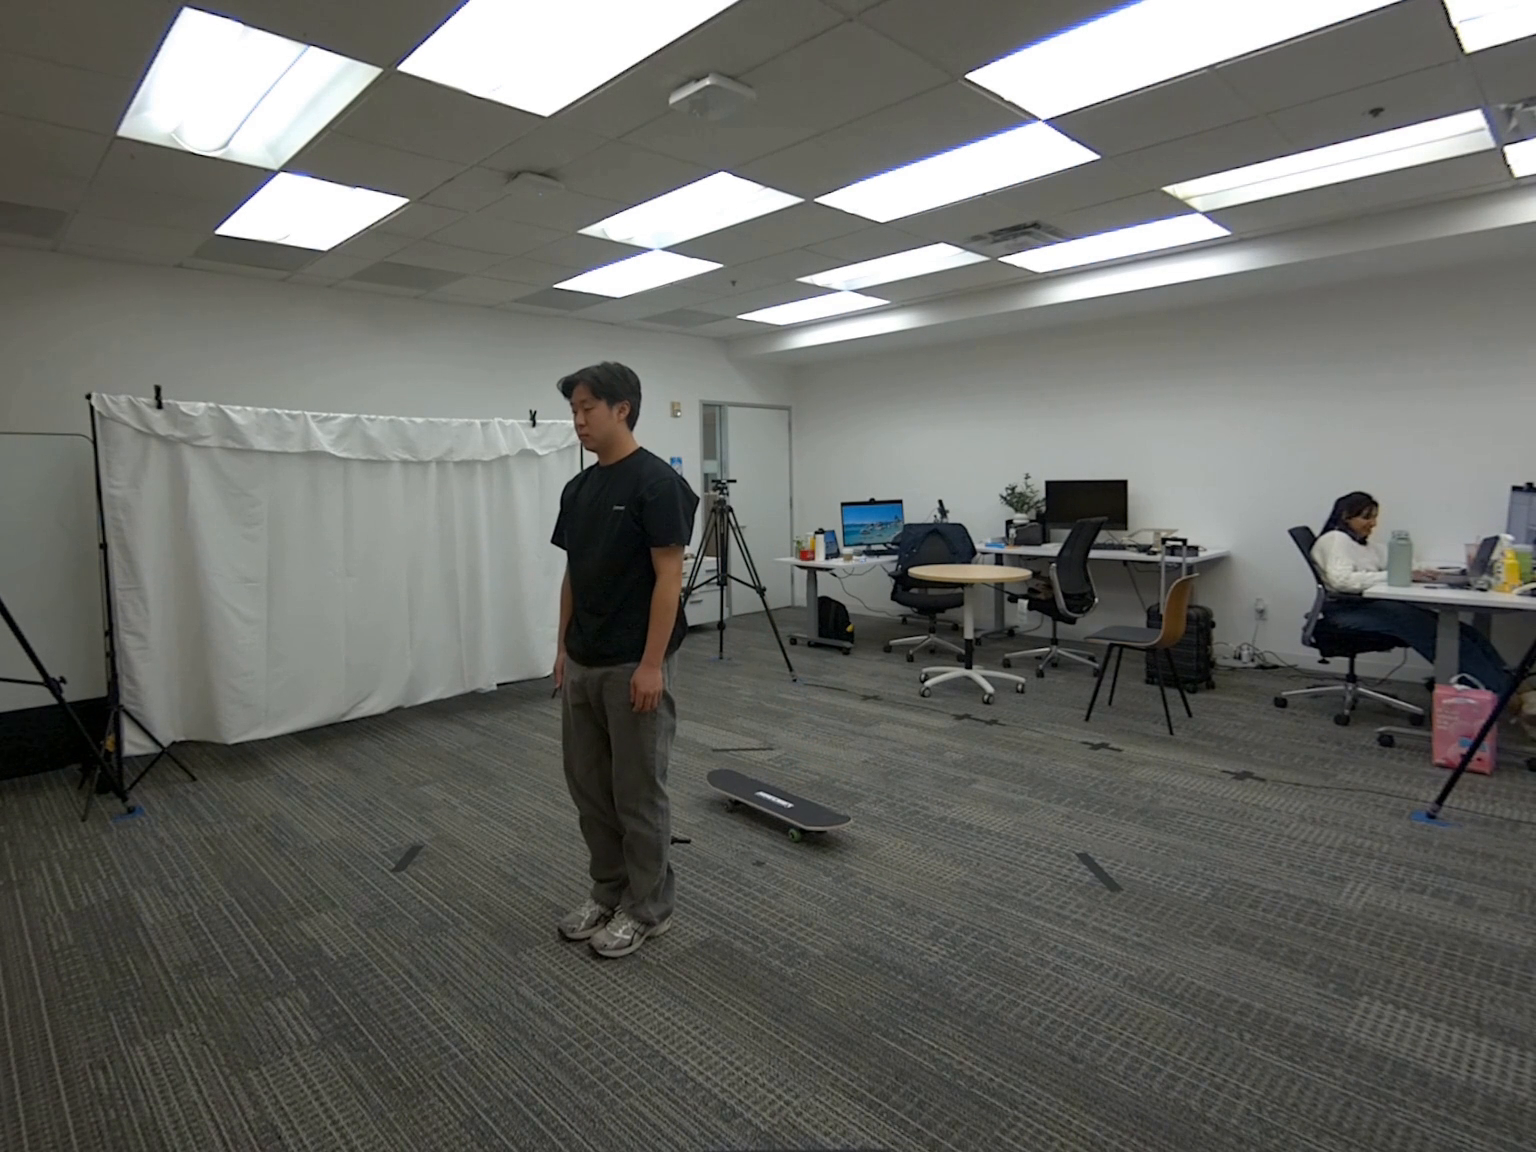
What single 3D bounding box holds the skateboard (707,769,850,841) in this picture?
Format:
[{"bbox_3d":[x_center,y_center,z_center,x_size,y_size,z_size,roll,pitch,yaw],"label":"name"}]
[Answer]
[{"bbox_3d":[0.031,0.946,3.491,0.188,0.110,0.810,-6,8,-40],"label":"skateboard"}]
